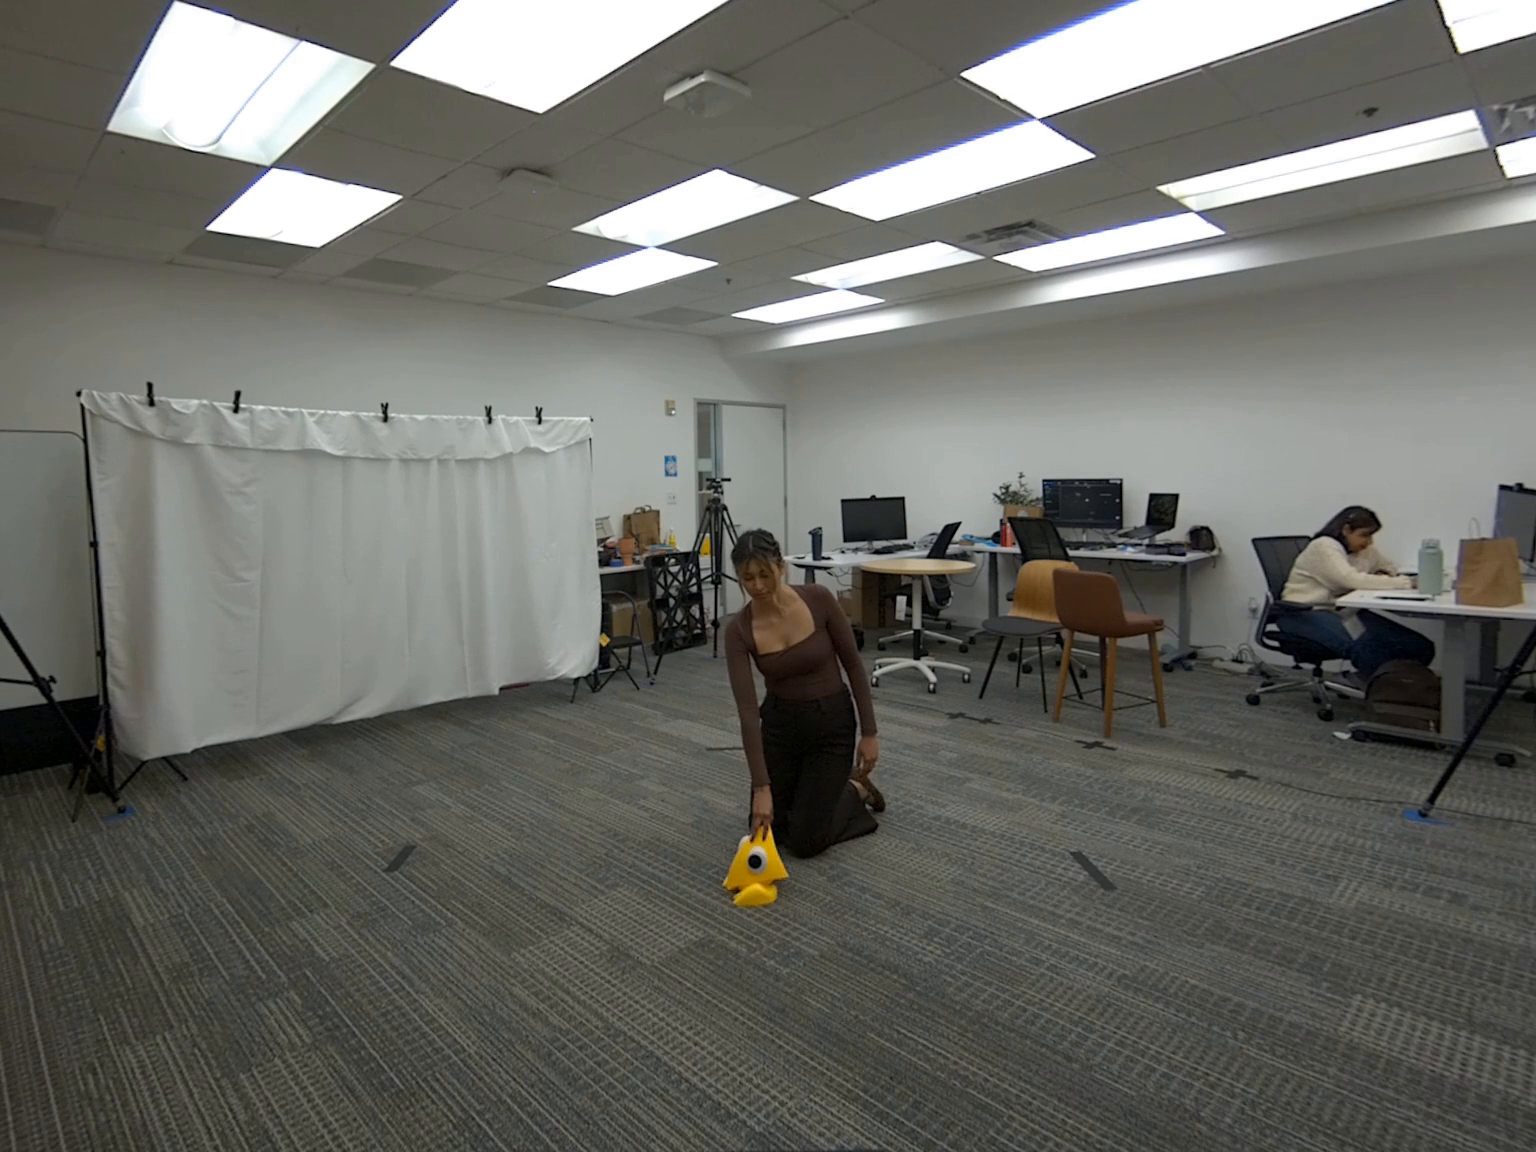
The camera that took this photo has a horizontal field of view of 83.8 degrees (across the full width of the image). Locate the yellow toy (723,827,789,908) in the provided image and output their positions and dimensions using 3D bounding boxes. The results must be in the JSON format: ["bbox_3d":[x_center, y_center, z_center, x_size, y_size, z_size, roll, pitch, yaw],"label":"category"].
[{"bbox_3d":[-0.055,0.954,2.889,0.190,0.229,0.209,-2,6,-18],"label":"yellow toy"}]
